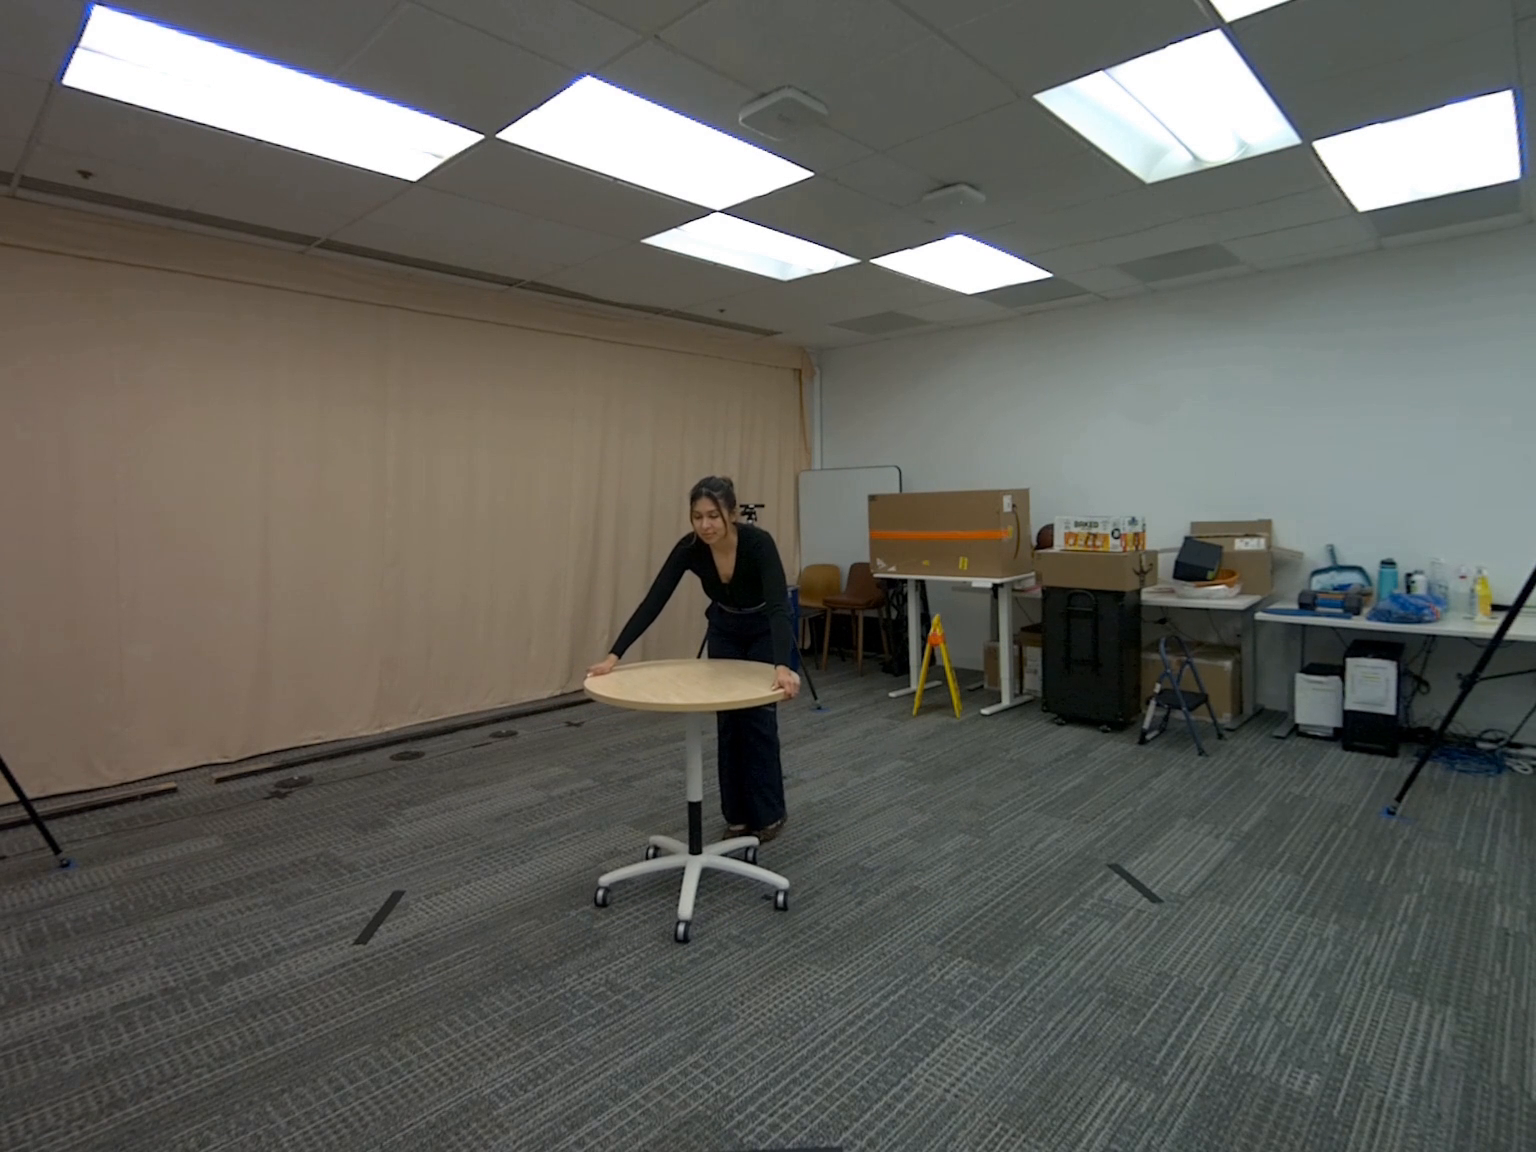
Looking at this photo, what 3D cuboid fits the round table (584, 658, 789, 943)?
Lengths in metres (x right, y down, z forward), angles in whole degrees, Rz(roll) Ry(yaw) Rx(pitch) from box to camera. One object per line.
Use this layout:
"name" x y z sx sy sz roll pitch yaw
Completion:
"round table" -0.263 0.757 3.013 0.763 0.792 0.766 -1 4 -2
